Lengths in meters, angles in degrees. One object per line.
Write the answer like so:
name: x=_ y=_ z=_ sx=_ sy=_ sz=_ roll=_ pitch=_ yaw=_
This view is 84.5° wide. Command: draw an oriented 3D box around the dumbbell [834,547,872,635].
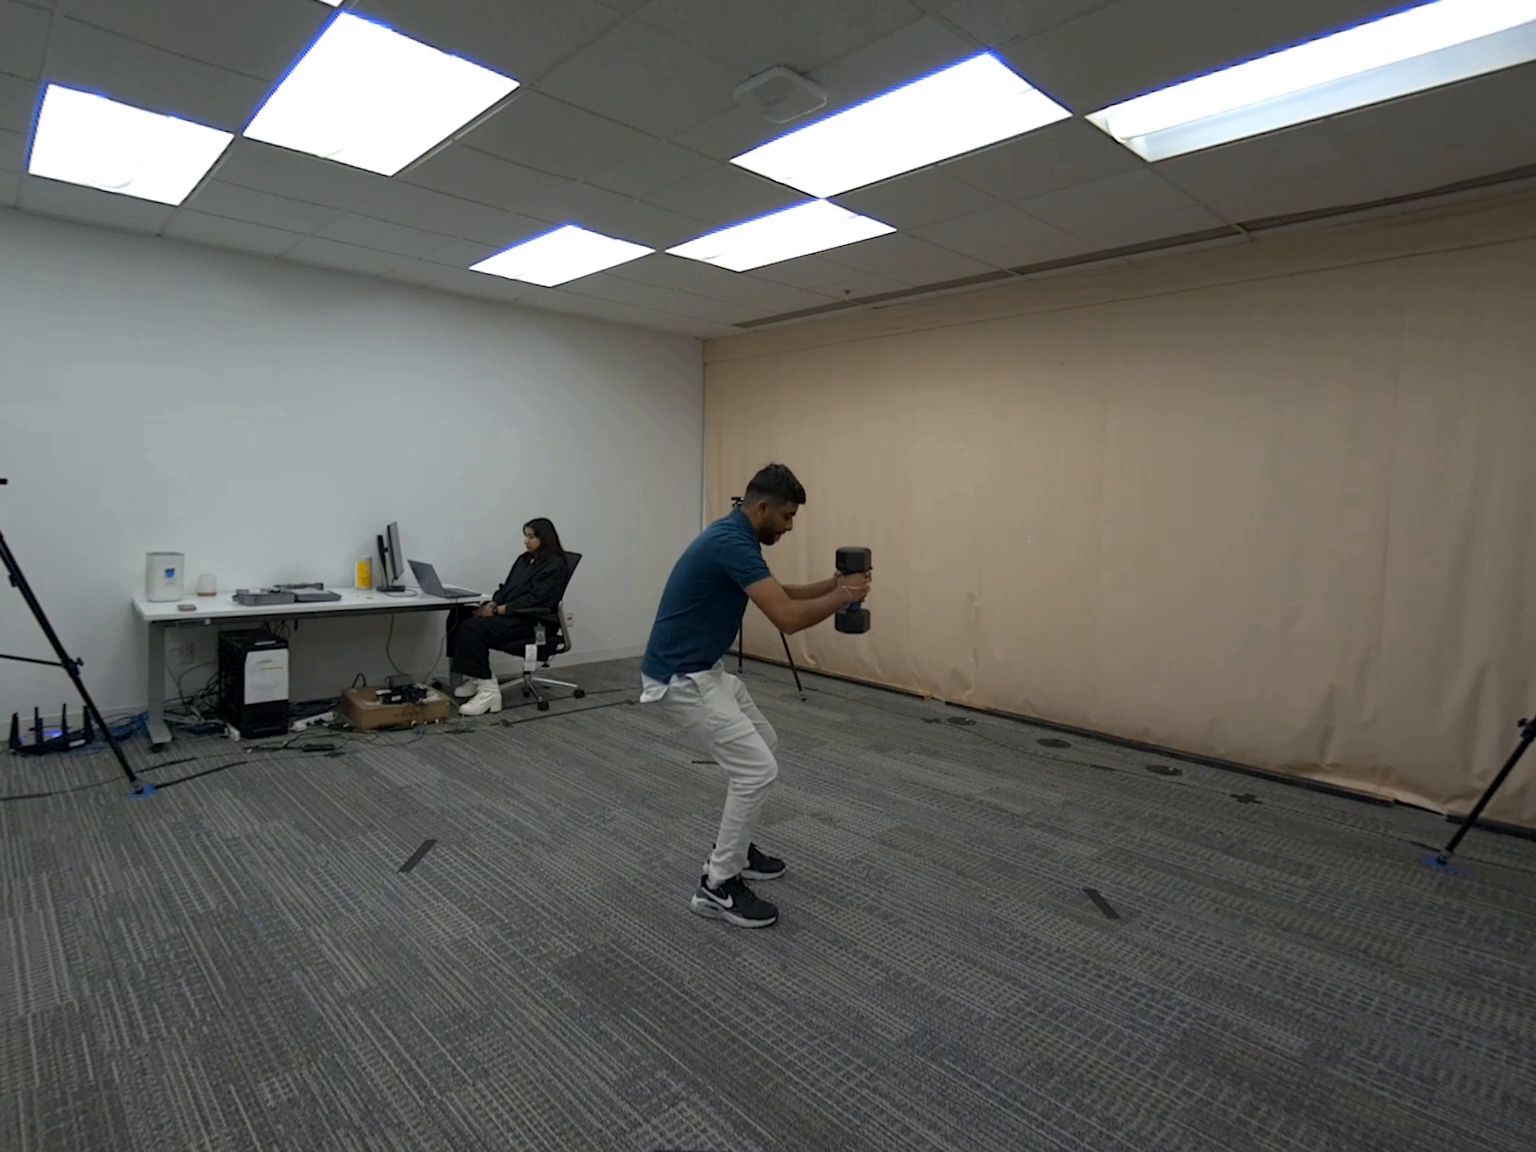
dumbbell: x=0.281 y=0.050 z=2.886 sx=0.111 sy=0.293 sz=0.121 roll=3 pitch=4 yaw=28
